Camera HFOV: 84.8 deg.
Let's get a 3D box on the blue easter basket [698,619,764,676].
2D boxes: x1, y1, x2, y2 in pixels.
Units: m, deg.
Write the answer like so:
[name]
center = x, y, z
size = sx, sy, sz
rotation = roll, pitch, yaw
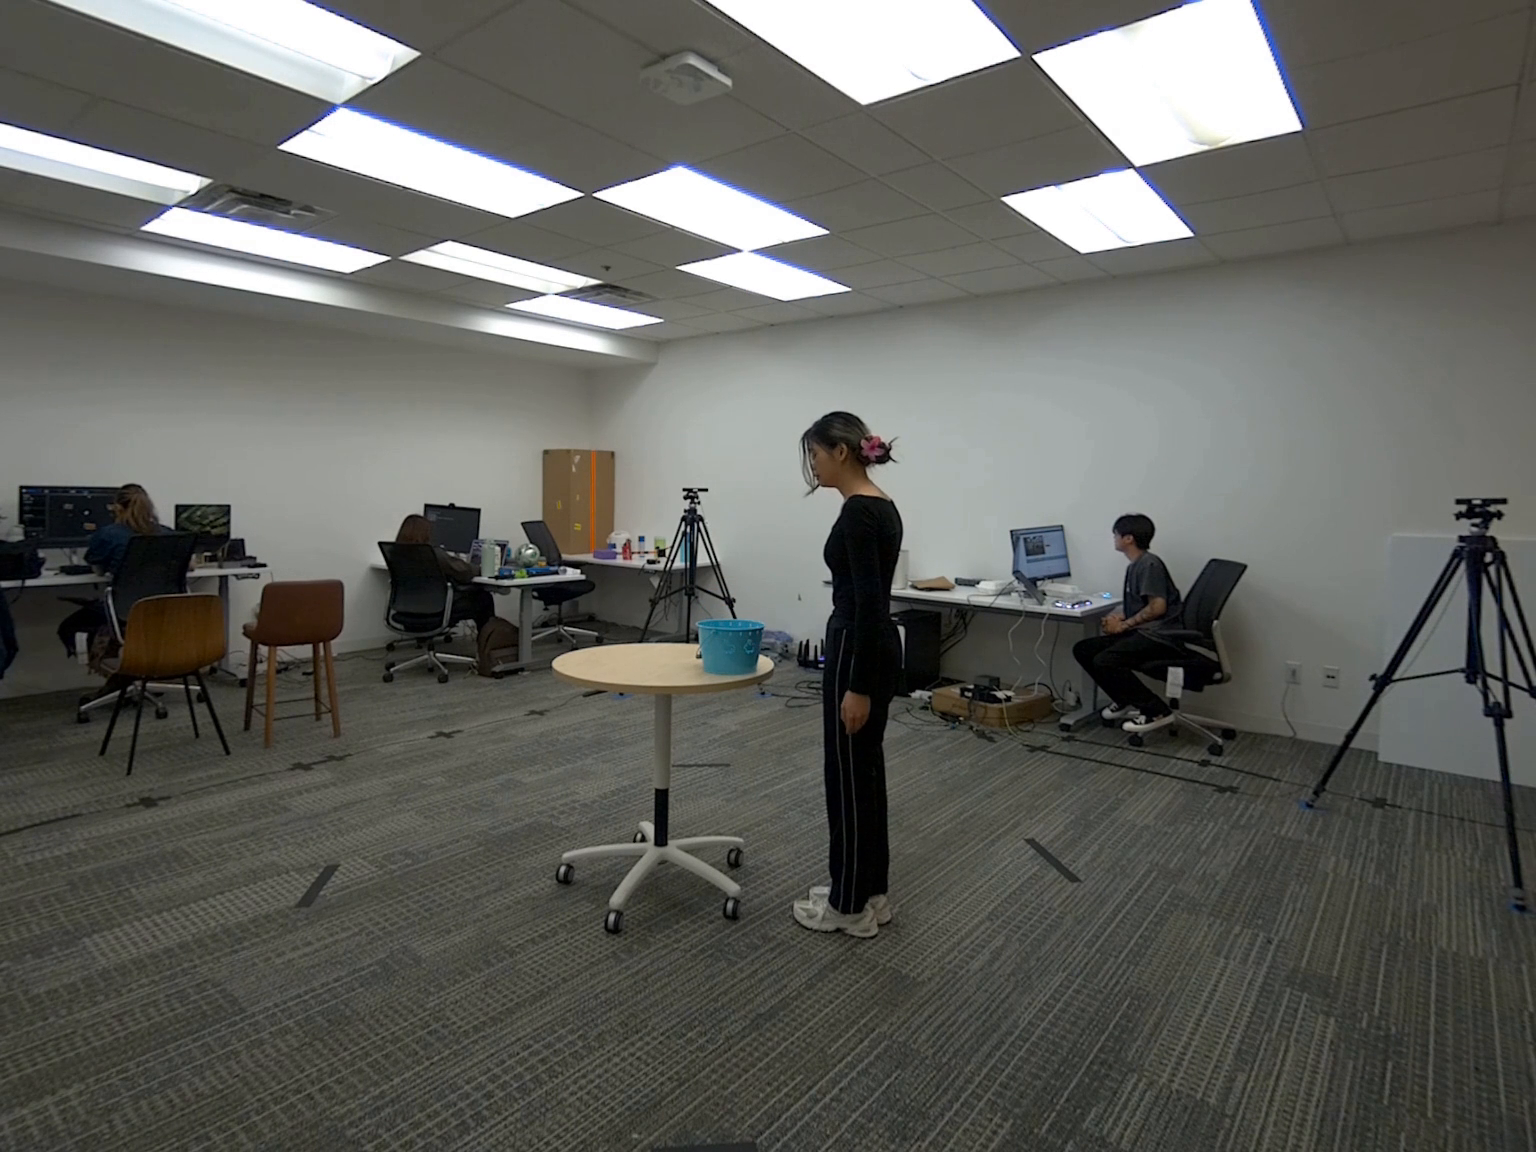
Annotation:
[blue easter basket]
center = -0.128, 0.237, 2.857
size = 0.243, 0.155, 0.244
rotation = 3, 3, -2
